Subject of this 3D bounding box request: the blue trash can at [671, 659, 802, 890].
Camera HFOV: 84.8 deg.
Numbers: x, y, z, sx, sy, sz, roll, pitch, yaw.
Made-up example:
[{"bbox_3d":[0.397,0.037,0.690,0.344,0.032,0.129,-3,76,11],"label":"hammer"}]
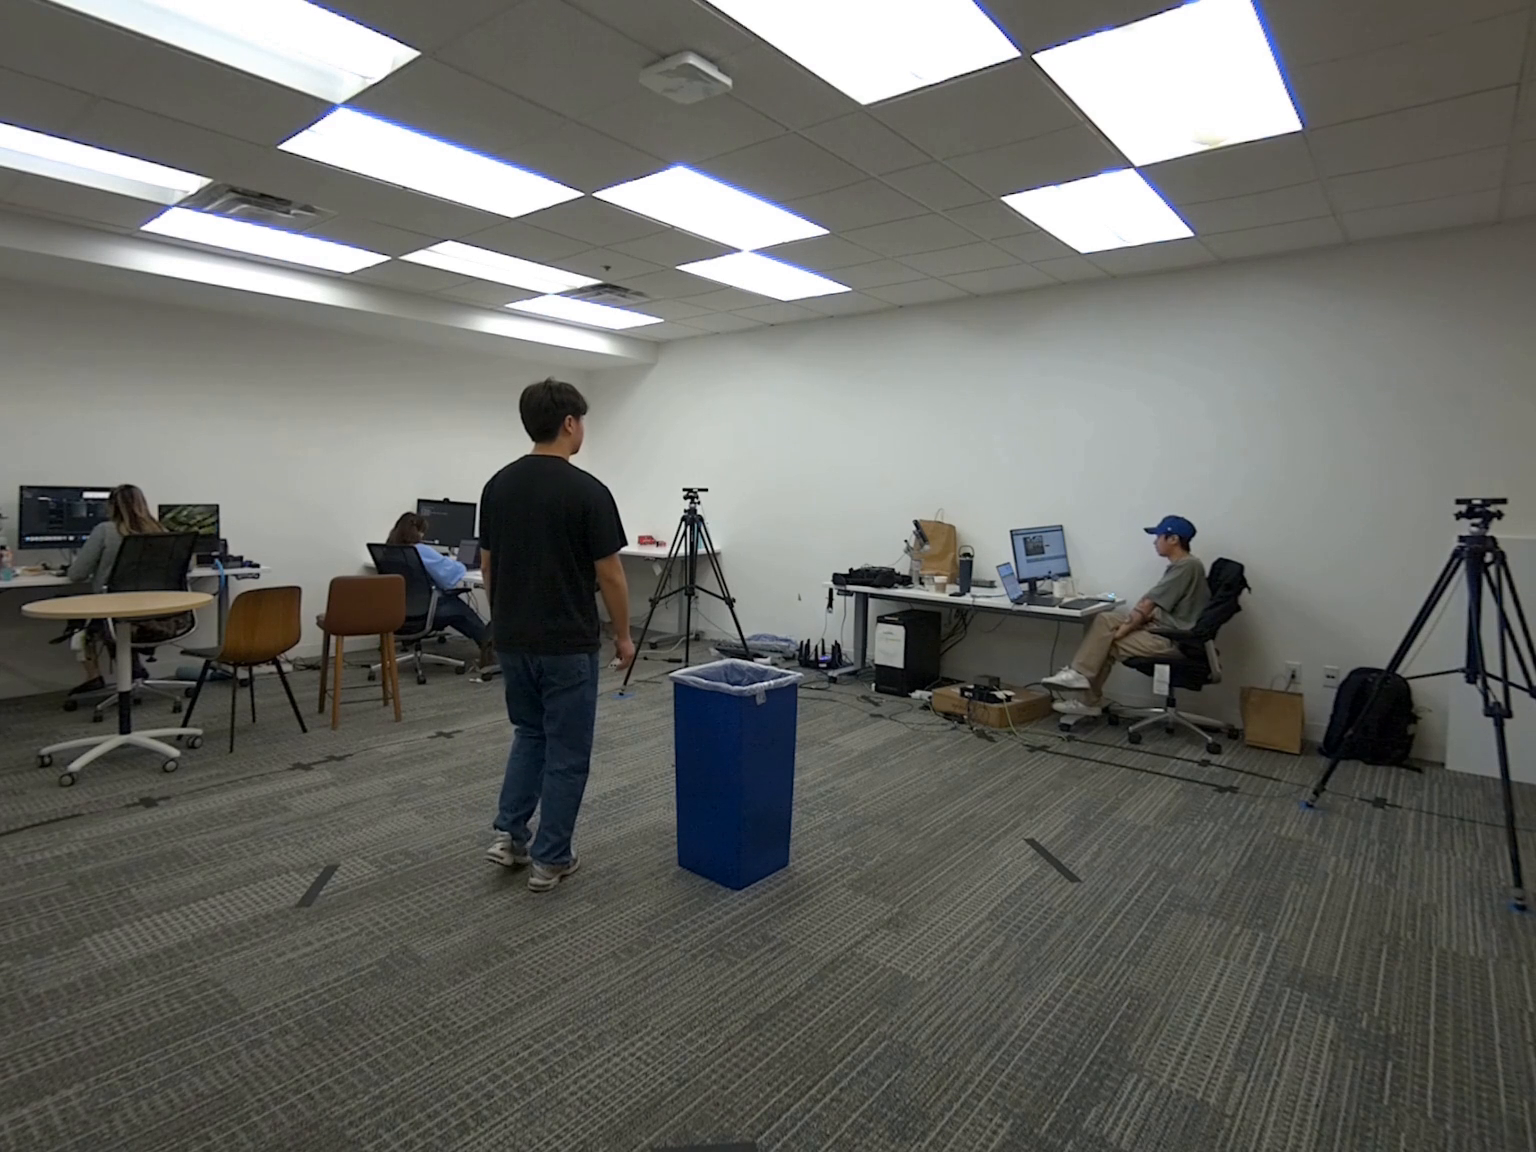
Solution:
[{"bbox_3d":[-0.137,0.711,3.131,0.387,0.712,0.367,4,4,39],"label":"blue trash can"}]
